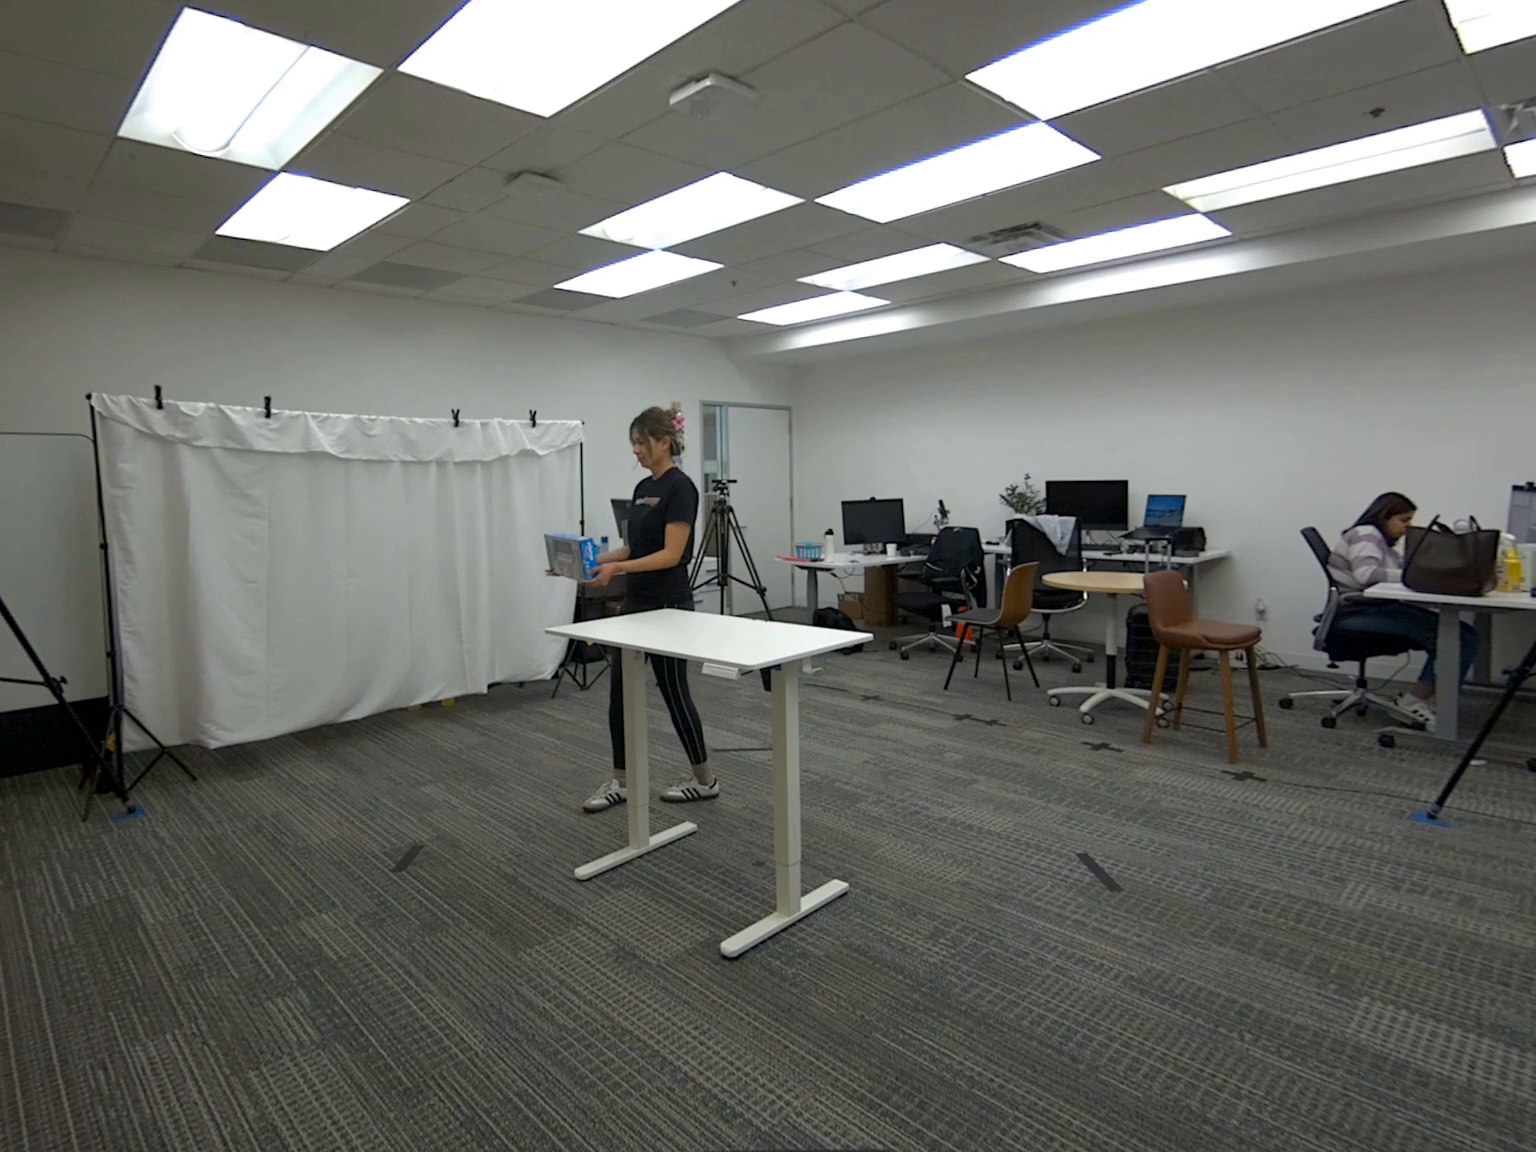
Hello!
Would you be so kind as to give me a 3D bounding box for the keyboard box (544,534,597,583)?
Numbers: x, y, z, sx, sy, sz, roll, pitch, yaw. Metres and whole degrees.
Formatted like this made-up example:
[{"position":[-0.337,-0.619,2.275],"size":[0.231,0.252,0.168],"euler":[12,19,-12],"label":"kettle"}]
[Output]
[{"position":[-0.813,-0.080,3.534],"size":[0.058,0.174,0.449],"euler":[-13,12,-30],"label":"keyboard box"}]
